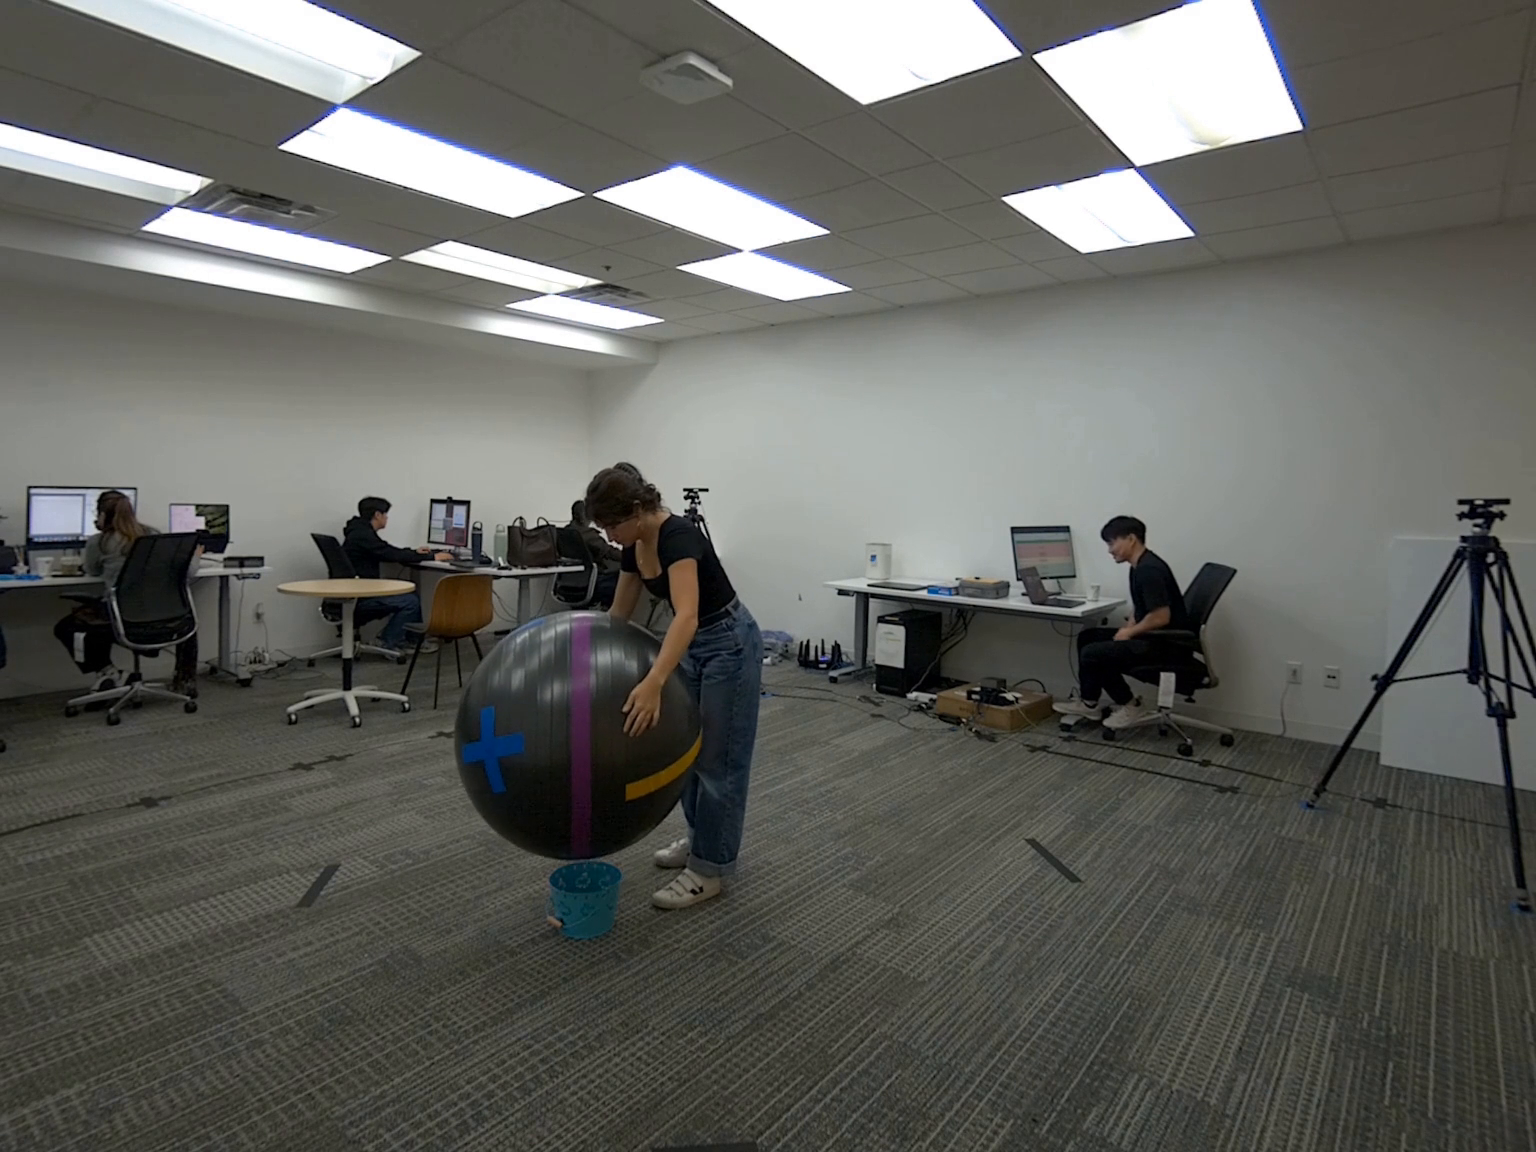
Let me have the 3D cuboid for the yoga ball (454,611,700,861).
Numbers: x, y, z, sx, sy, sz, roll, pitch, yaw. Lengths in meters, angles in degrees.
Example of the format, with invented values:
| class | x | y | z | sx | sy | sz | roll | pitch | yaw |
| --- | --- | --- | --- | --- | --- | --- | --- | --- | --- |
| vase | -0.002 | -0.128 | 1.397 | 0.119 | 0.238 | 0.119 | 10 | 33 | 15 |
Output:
| class | x | y | z | sx | sy | sz | roll | pitch | yaw |
| --- | --- | --- | --- | --- | --- | --- | --- | --- | --- |
| yoga ball | -0.609 | 0.483 | 2.674 | 0.757 | 0.755 | 0.762 | 1 | 4 | -2 |
